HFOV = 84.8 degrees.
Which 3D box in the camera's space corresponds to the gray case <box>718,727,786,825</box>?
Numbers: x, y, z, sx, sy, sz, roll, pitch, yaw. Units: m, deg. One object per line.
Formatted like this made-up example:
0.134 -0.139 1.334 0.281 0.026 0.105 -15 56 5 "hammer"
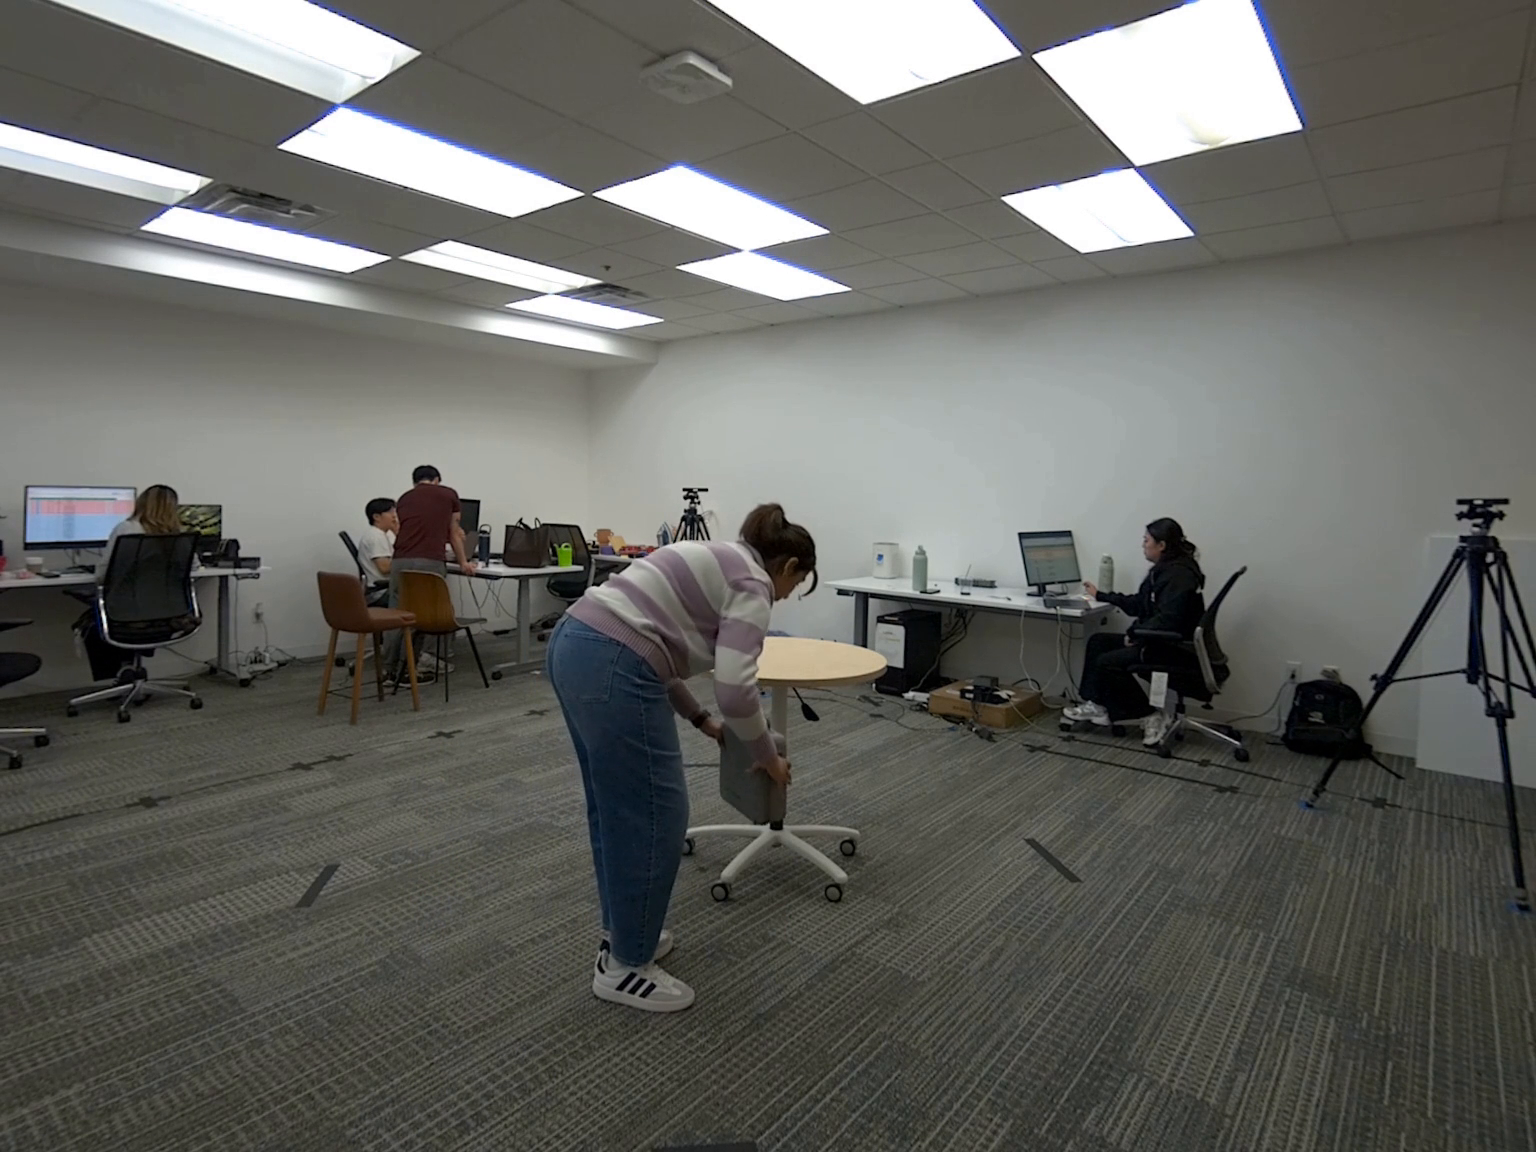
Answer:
-0.058 0.561 2.486 0.102 0.260 0.264 1 5 -25 "gray case"
